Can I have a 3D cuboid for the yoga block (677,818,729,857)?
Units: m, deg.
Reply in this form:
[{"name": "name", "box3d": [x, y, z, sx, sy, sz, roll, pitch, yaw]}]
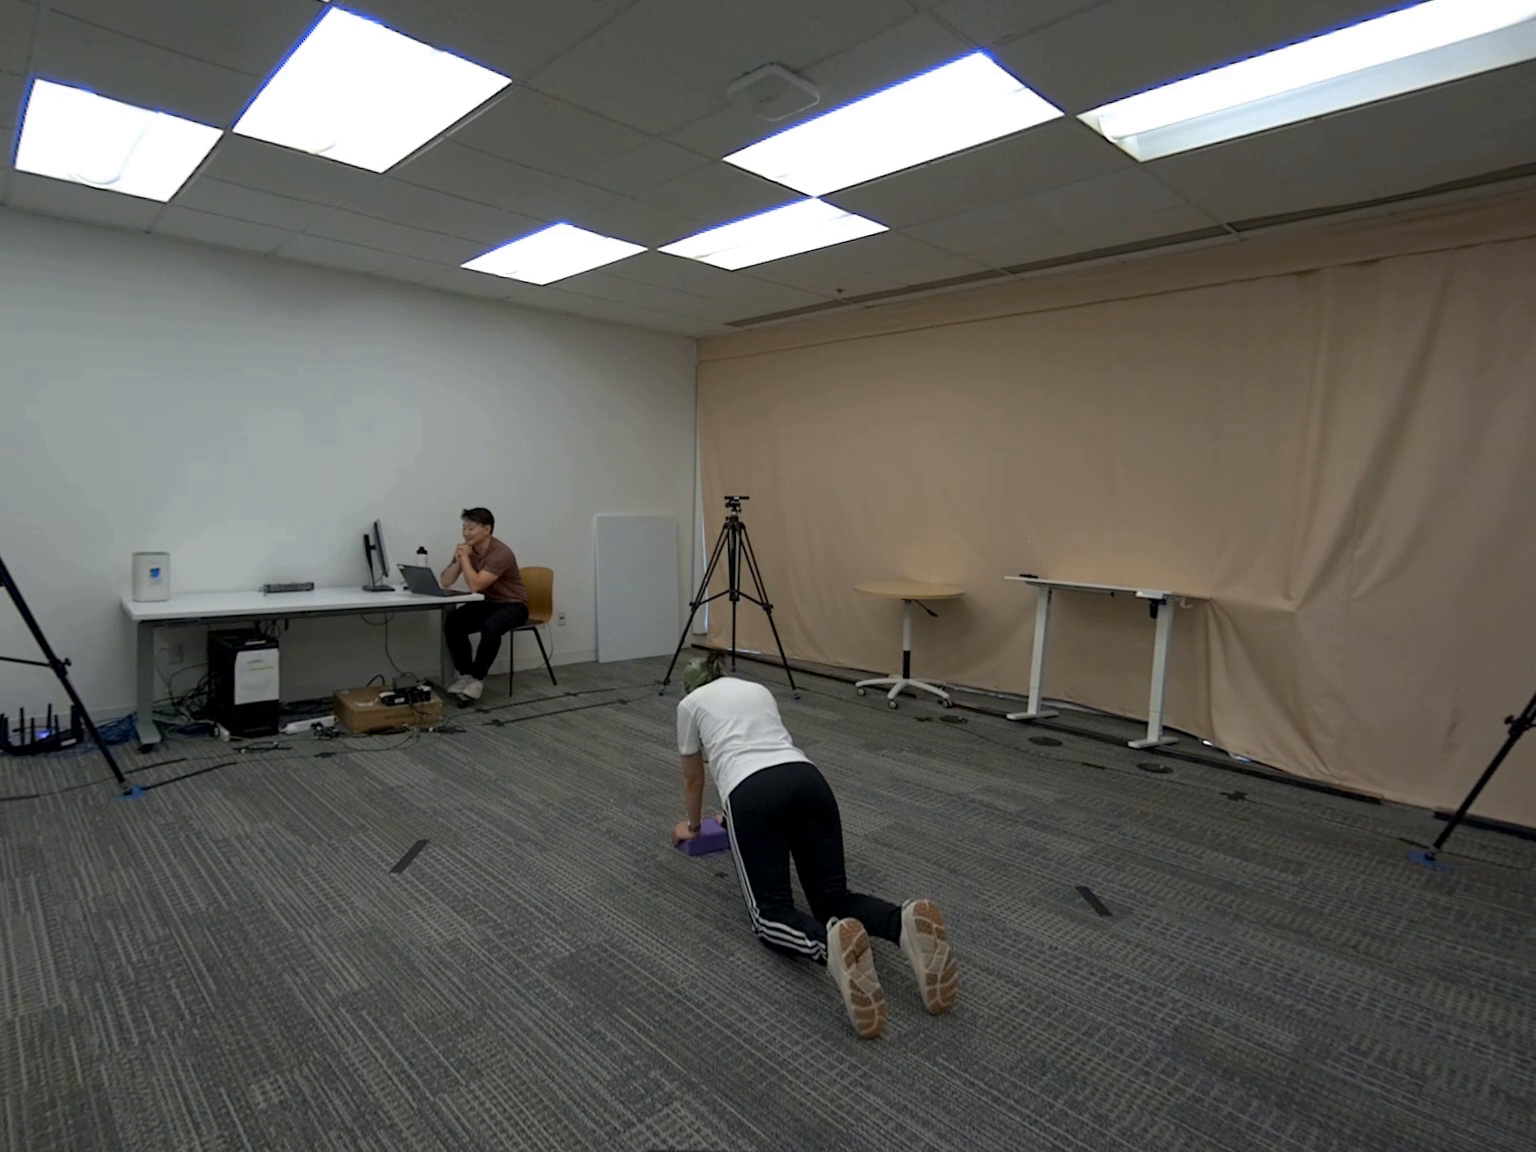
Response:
[{"name": "yoga block", "box3d": [-0.256, 1.040, 3.364, 0.224, 0.076, 0.152, -3, 5, -32]}]
